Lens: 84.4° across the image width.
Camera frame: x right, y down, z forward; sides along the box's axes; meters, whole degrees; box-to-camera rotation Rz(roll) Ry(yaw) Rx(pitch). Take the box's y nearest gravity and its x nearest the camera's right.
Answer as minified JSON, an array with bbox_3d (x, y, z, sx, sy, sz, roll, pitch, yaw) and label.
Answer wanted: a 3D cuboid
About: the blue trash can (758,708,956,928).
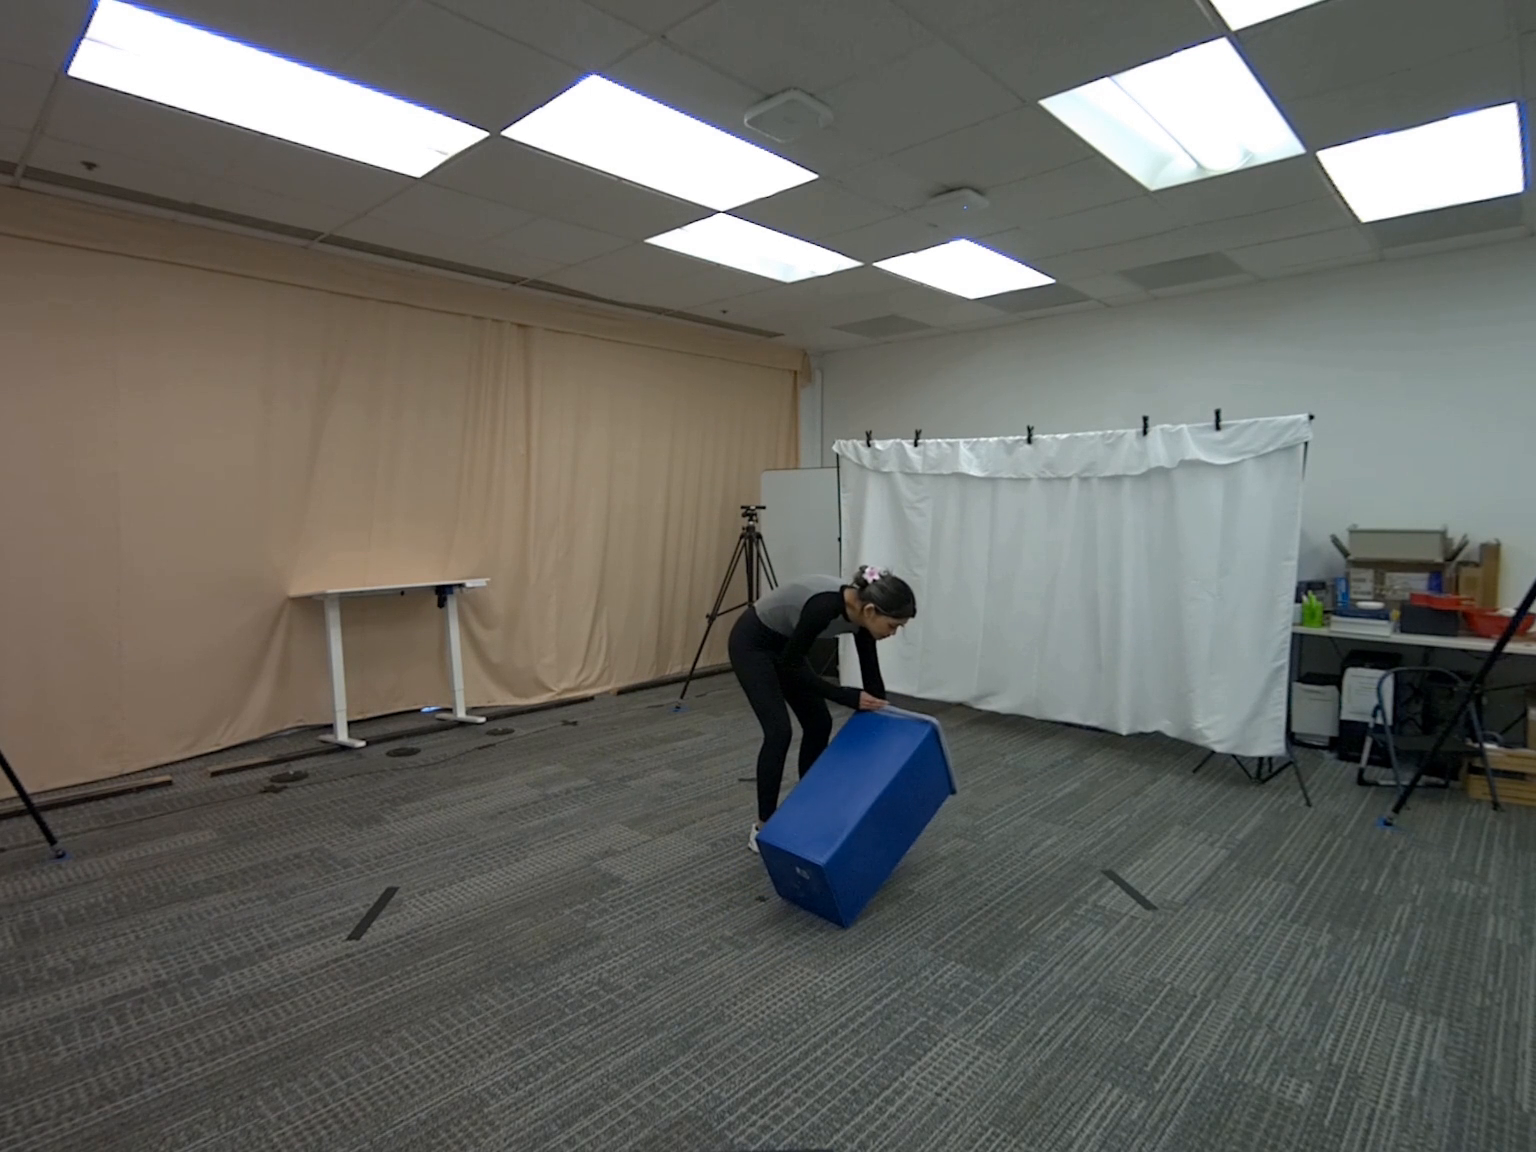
[{"bbox_3d":[0.326,0.829,3.007,0.391,0.366,0.705,7,37,43],"label":"blue trash can"}]
